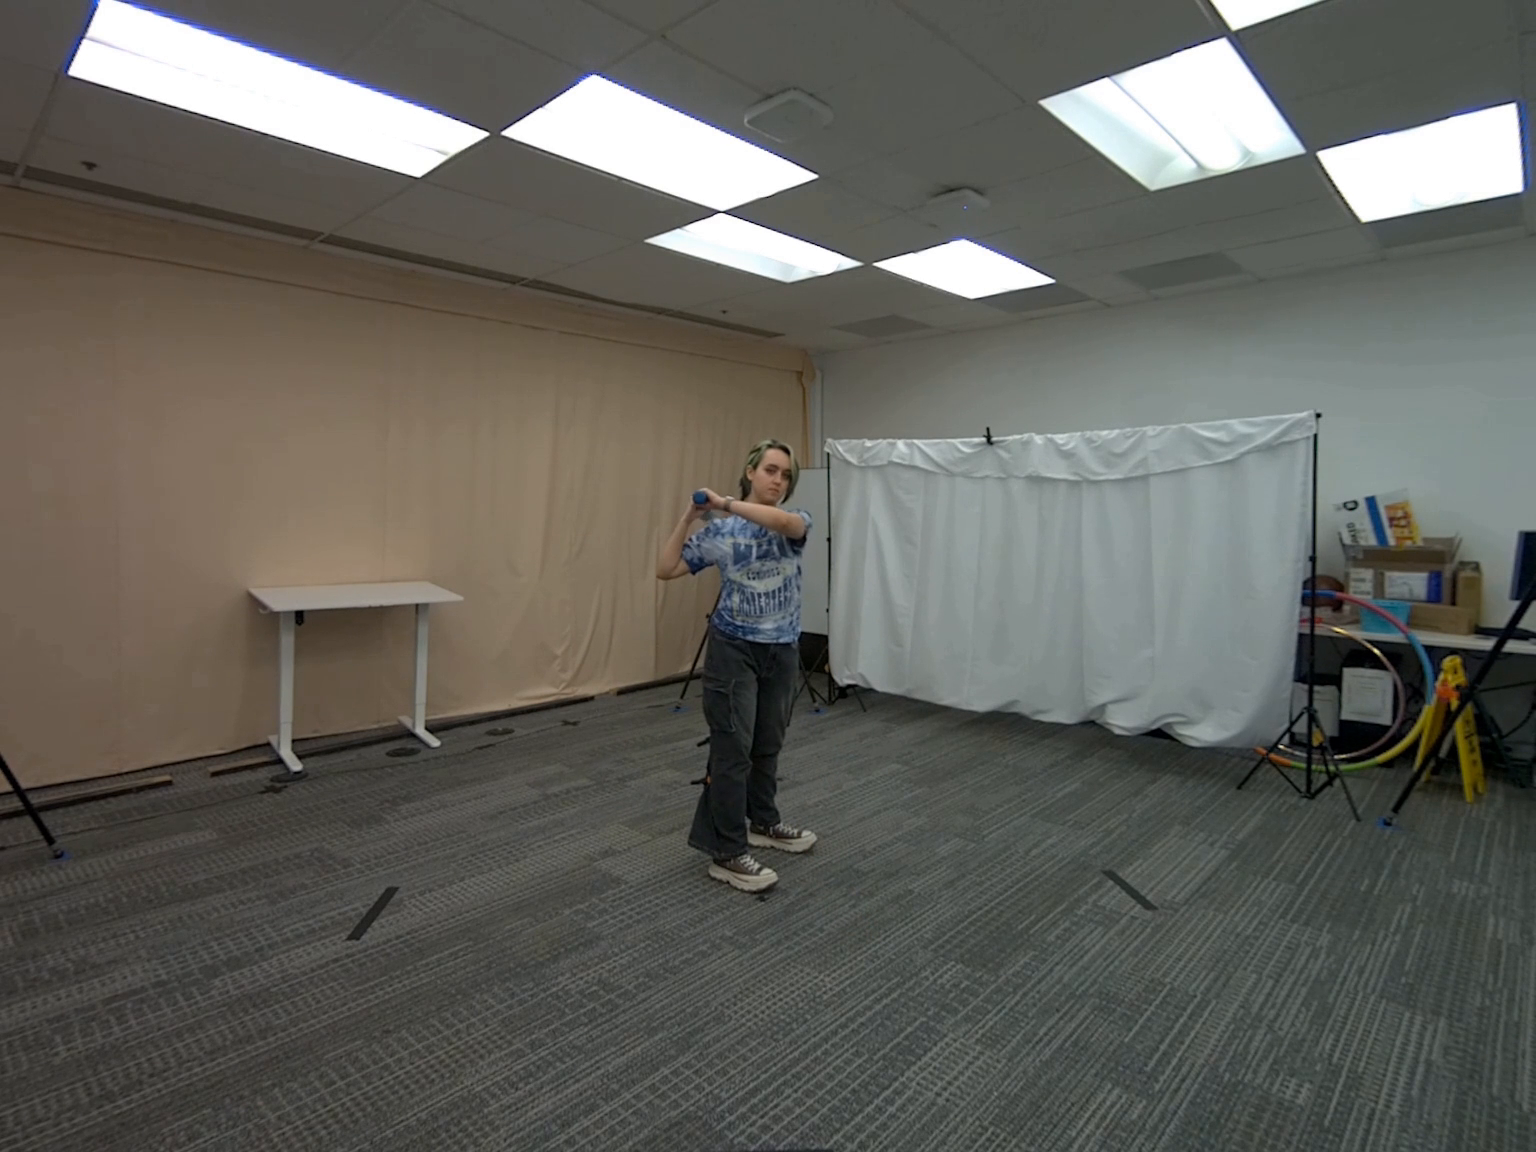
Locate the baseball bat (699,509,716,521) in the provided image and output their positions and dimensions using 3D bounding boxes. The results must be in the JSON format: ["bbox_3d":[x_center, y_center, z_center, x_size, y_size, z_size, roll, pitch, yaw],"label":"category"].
[{"bbox_3d":[-0.236,-0.276,3.239,0.089,0.089,0.542,0,-1,-2],"label":"baseball bat"}]
